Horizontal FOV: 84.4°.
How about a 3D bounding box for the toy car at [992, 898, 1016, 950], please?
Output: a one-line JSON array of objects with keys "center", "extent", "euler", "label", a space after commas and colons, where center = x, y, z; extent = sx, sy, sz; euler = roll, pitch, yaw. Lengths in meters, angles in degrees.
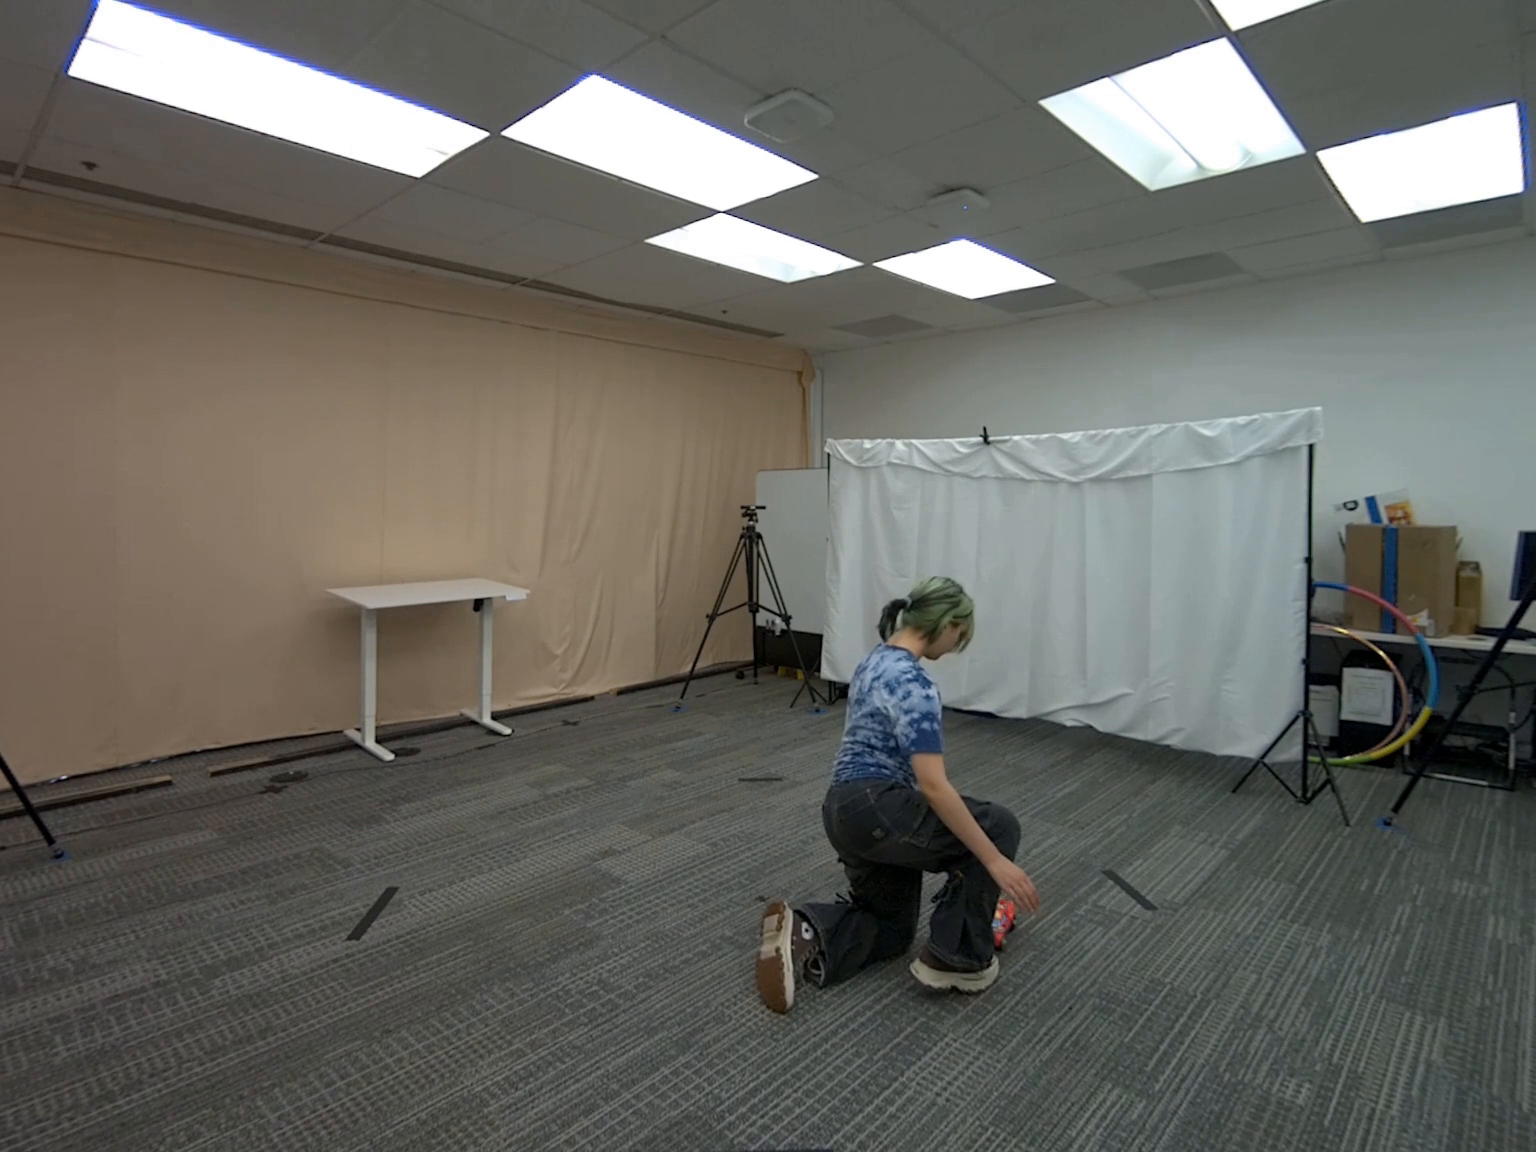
[{"center": [0.746, 1.131, 2.744], "extent": [0.134, 0.082, 0.250], "euler": [3, 18, 31], "label": "toy car"}]
